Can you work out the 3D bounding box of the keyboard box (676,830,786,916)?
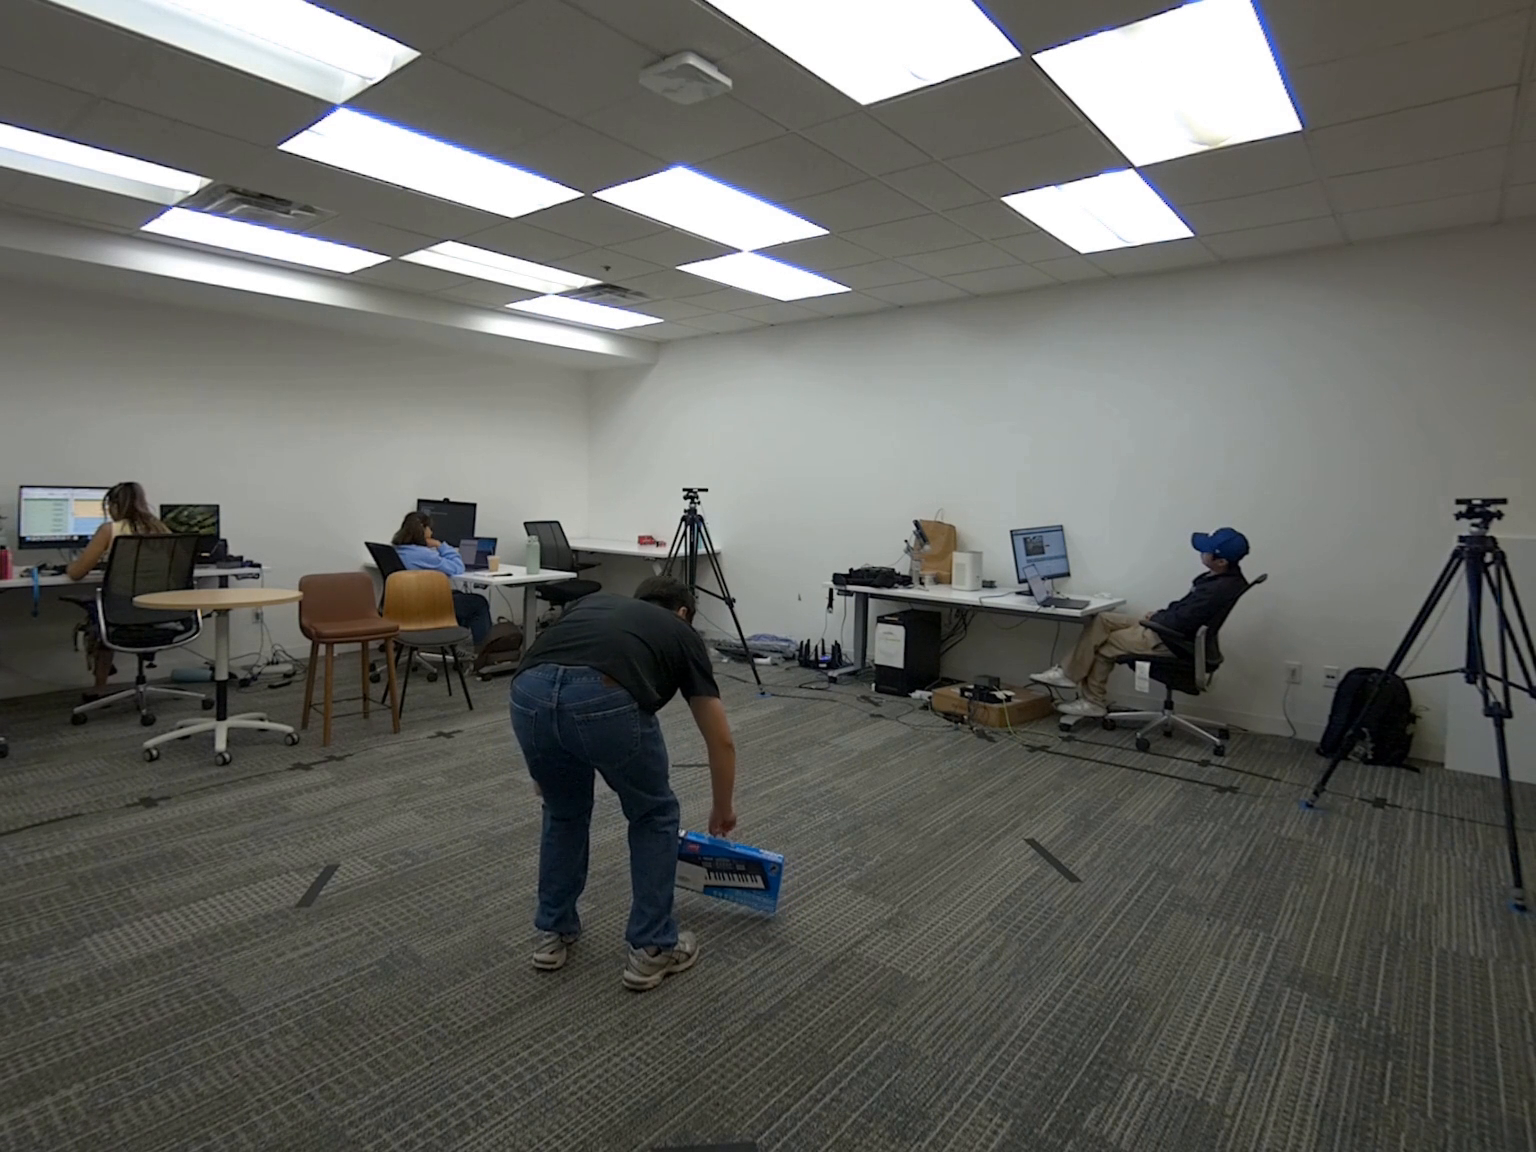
[{"bbox_3d":[-0.178,0.947,2.786,0.443,0.175,0.058,9,6,12],"label":"keyboard box"}]
